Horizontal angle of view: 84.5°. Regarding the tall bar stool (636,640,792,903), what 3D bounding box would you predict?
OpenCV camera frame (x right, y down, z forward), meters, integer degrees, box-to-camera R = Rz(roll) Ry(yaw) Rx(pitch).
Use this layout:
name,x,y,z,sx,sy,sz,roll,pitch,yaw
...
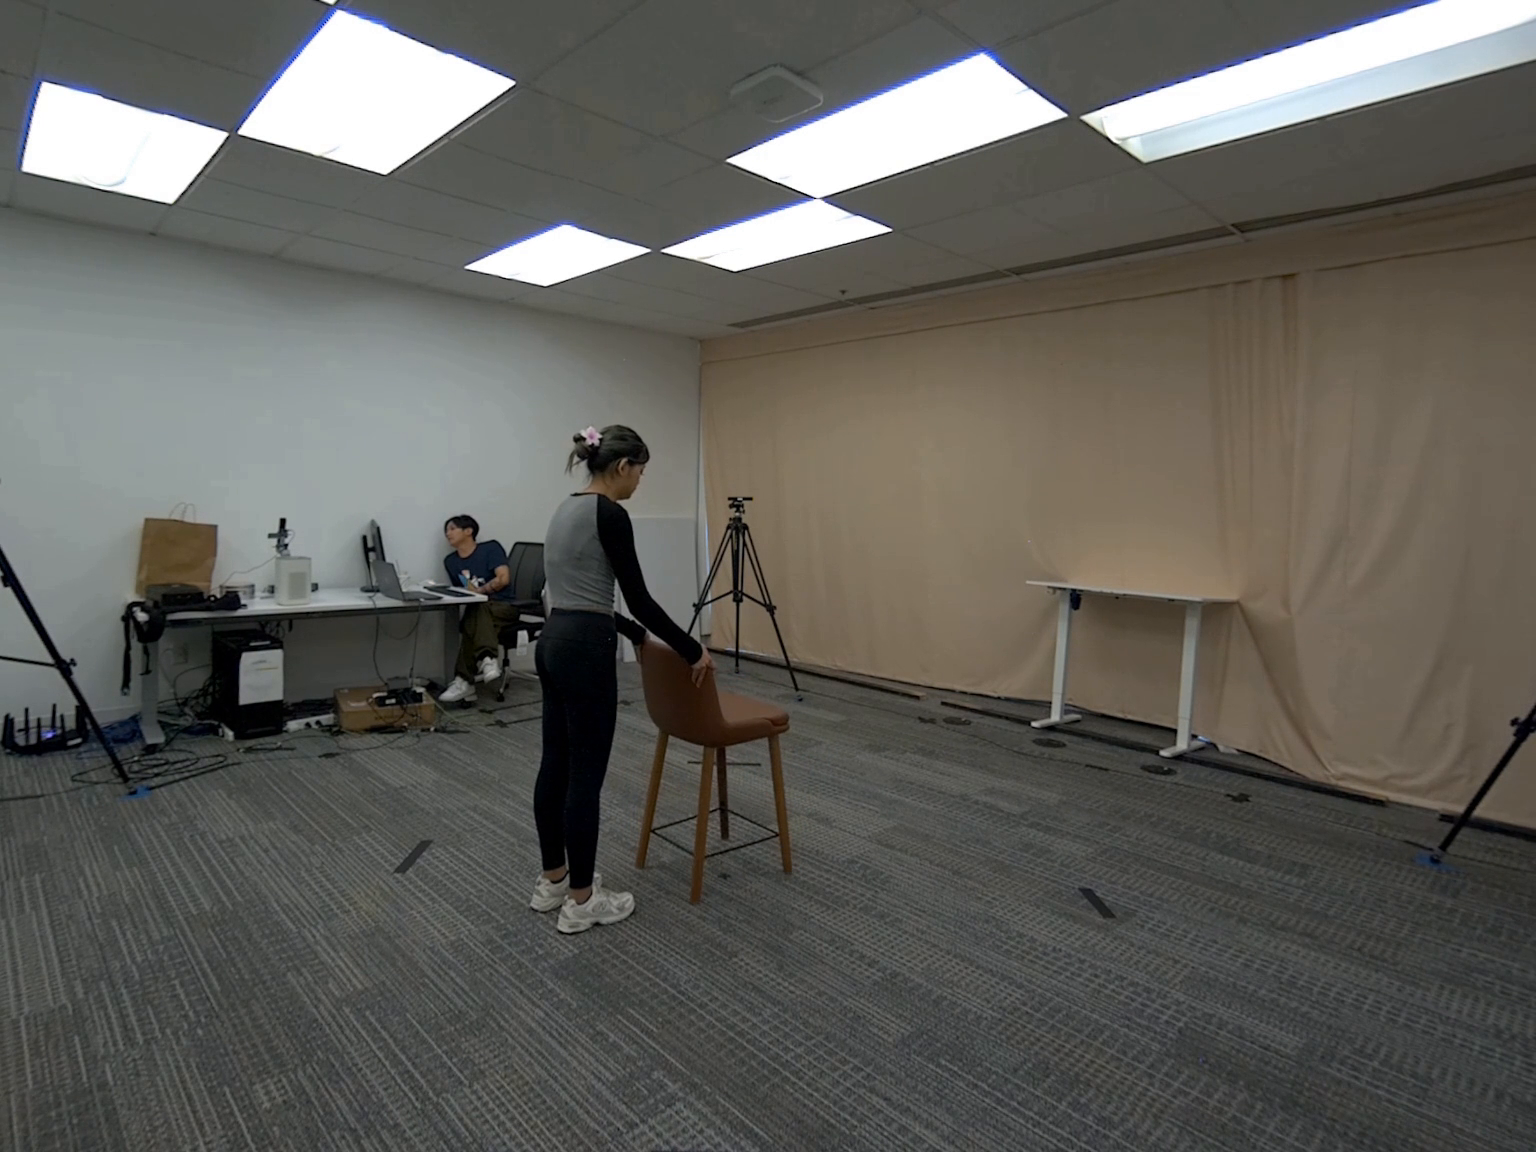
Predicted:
name,x,y,z,sx,sy,sz,roll,pitch,yaw
tall bar stool,-0.216,0.663,3.138,0.457,0.887,0.468,-4,6,-40
